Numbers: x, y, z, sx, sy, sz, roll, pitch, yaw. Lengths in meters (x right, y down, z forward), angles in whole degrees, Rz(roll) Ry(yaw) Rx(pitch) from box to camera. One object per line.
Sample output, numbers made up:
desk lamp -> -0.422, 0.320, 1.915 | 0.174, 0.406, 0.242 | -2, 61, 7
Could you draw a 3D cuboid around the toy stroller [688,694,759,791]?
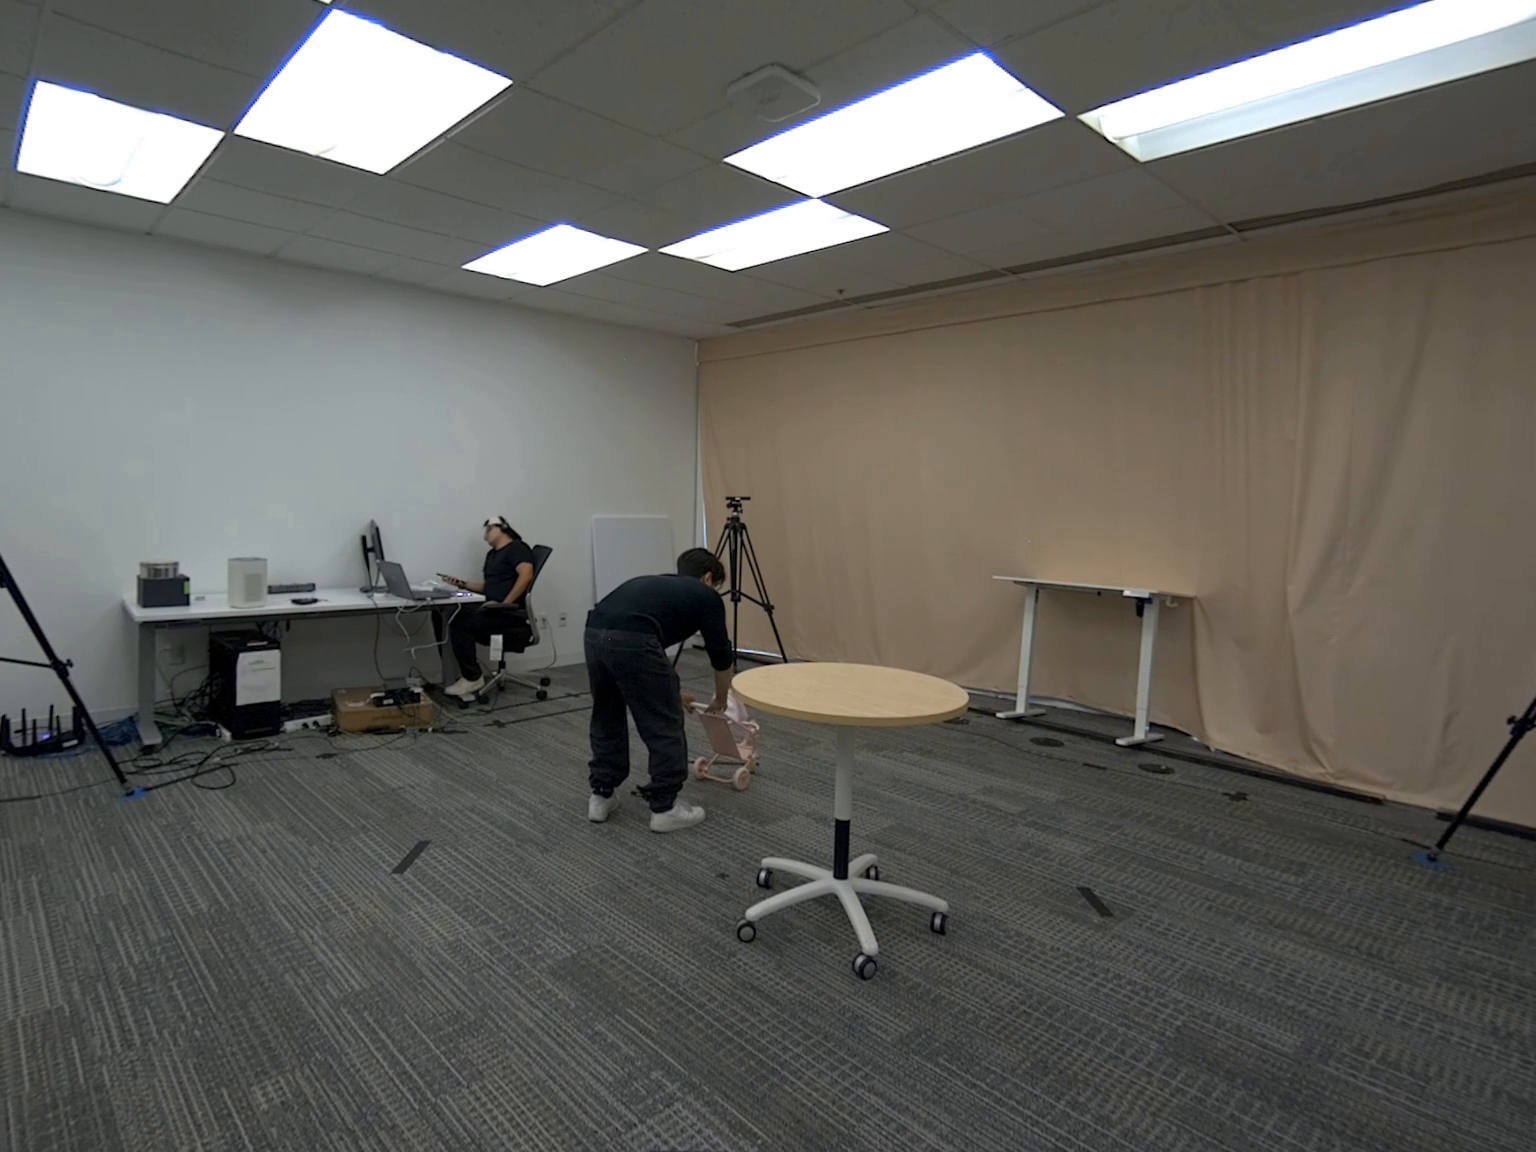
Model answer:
toy stroller -> -0.203, 0.789, 4.154 | 0.288, 0.528, 0.337 | 5, 21, 40
